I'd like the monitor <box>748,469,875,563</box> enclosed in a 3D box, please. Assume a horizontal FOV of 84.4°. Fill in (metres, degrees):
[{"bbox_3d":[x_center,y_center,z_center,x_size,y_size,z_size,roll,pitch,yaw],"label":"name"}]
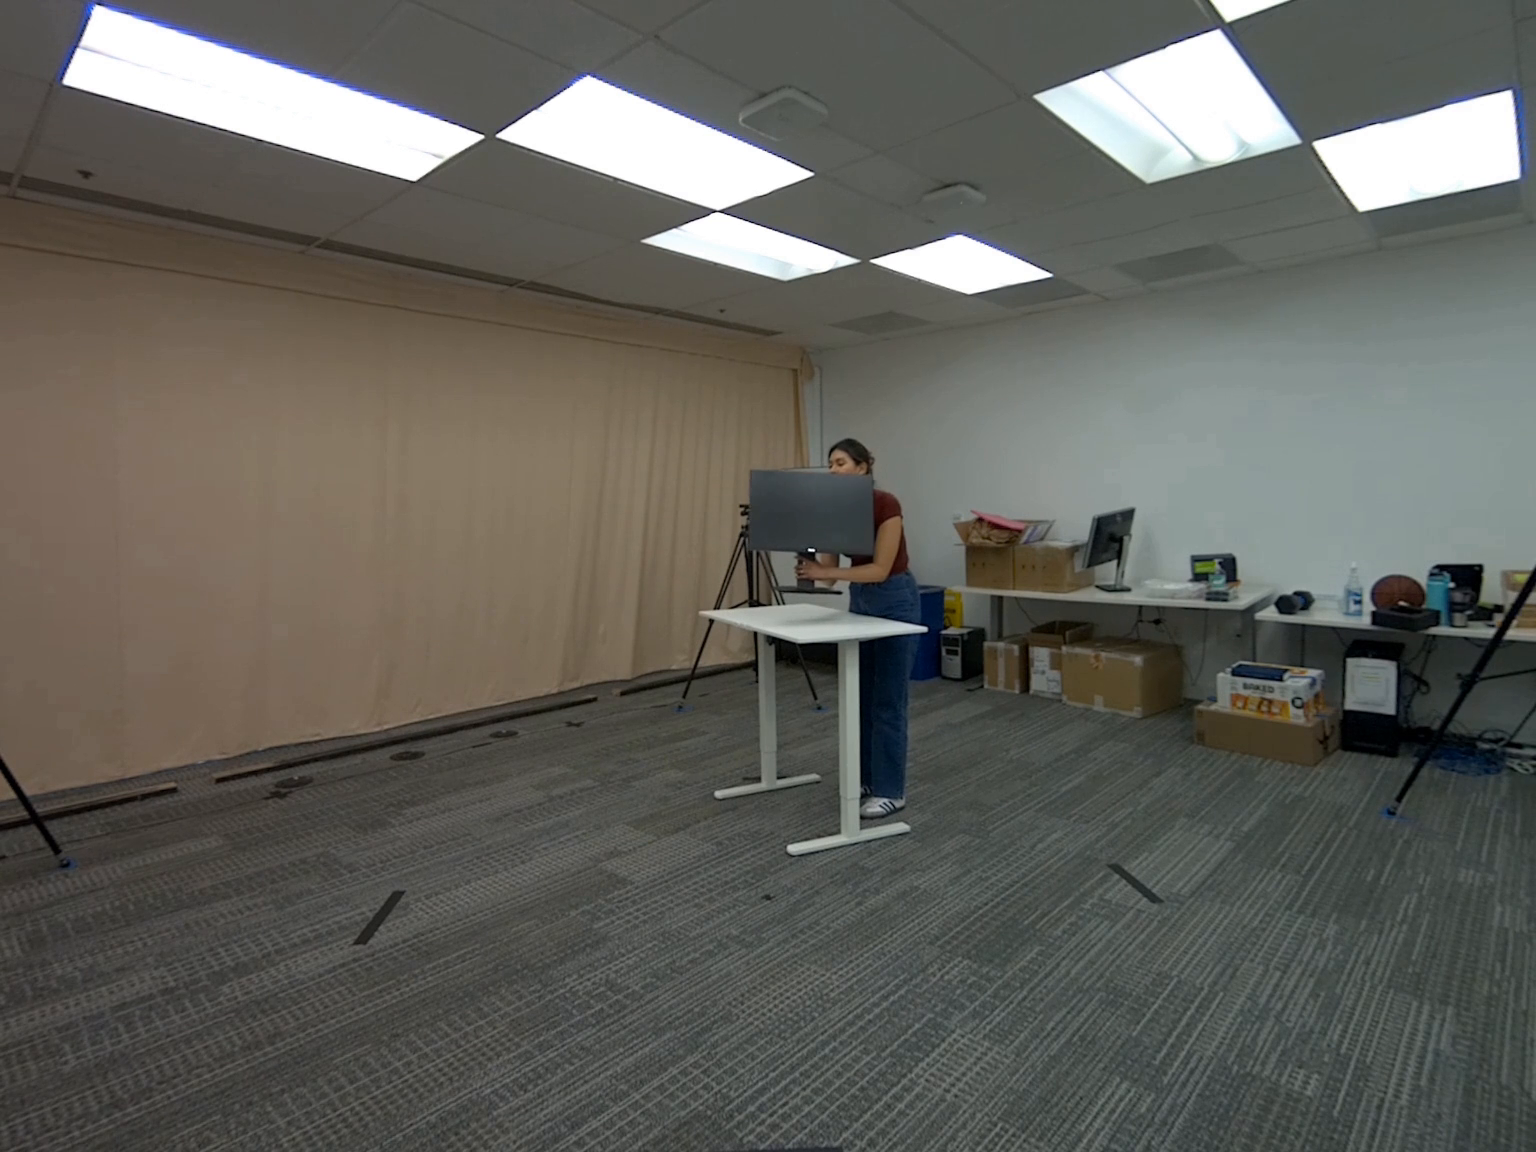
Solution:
[{"bbox_3d":[0.181,-0.183,3.624,0.536,0.522,0.188,2,1,-6],"label":"monitor"}]
